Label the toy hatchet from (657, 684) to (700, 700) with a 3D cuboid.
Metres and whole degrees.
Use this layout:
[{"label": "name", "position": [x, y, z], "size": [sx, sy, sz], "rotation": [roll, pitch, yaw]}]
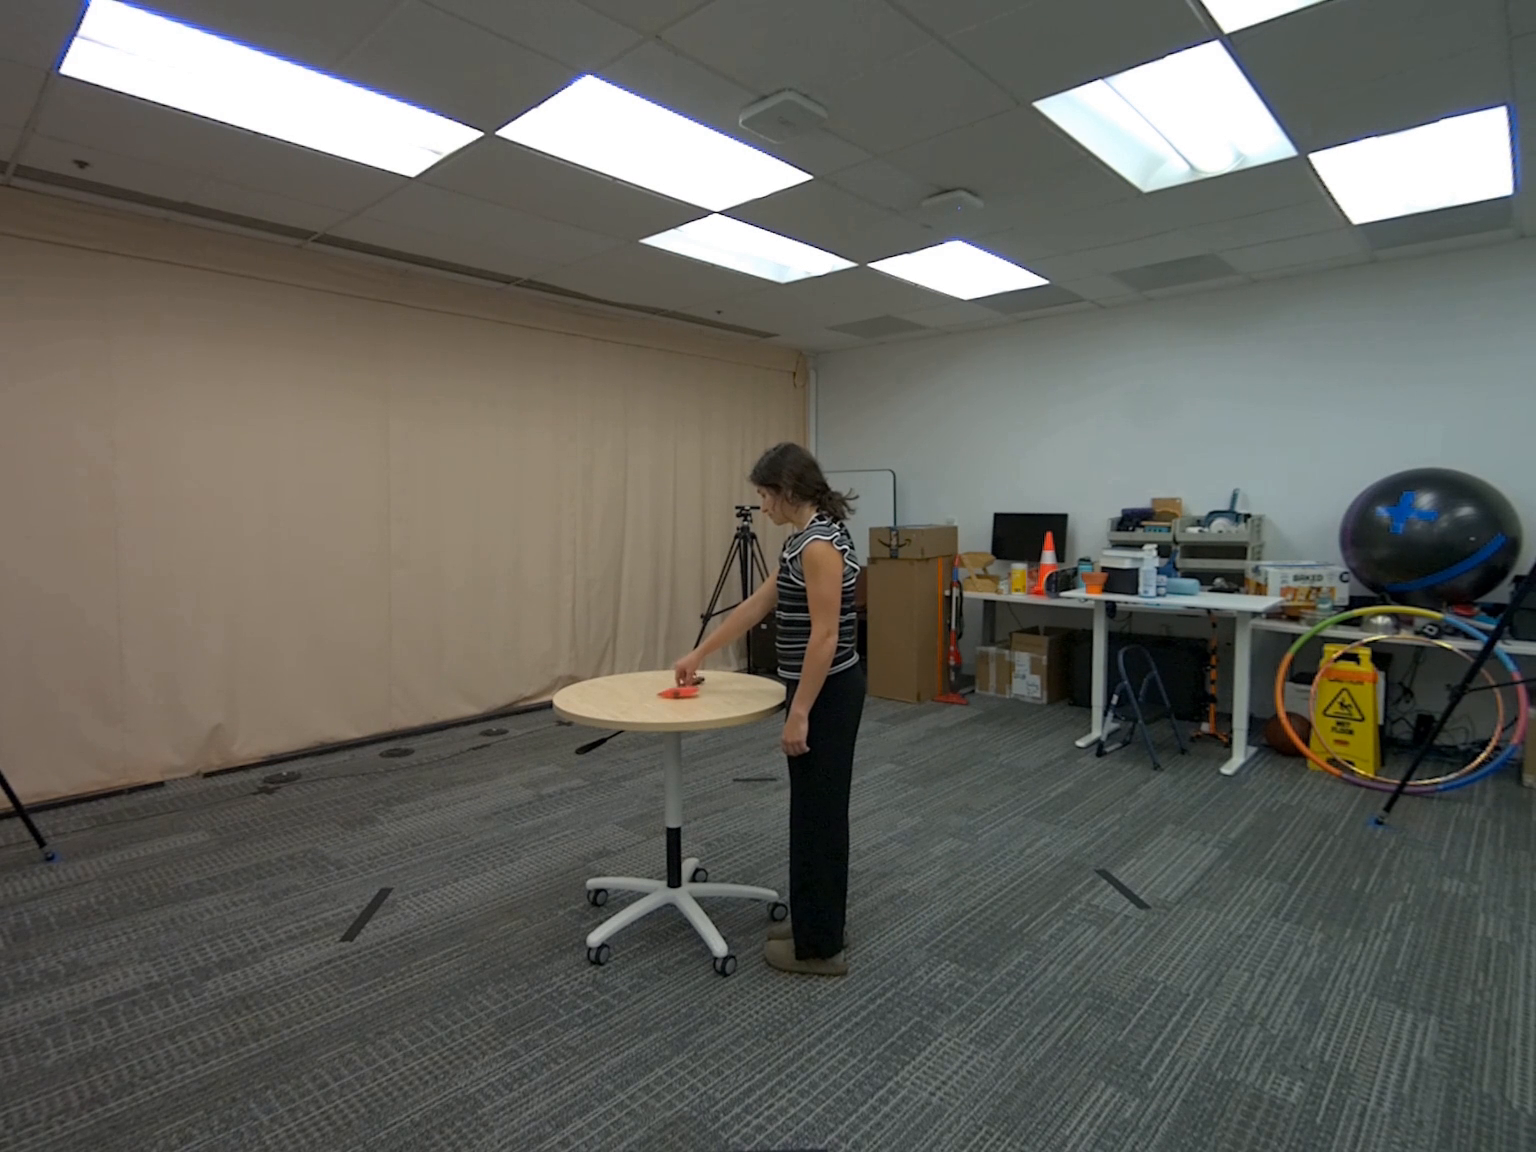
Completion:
[{"label": "toy hatchet", "position": [-0.247, 0.363, 2.772], "size": [0.134, 0.029, 0.264], "rotation": [-8, 2, 26]}]
